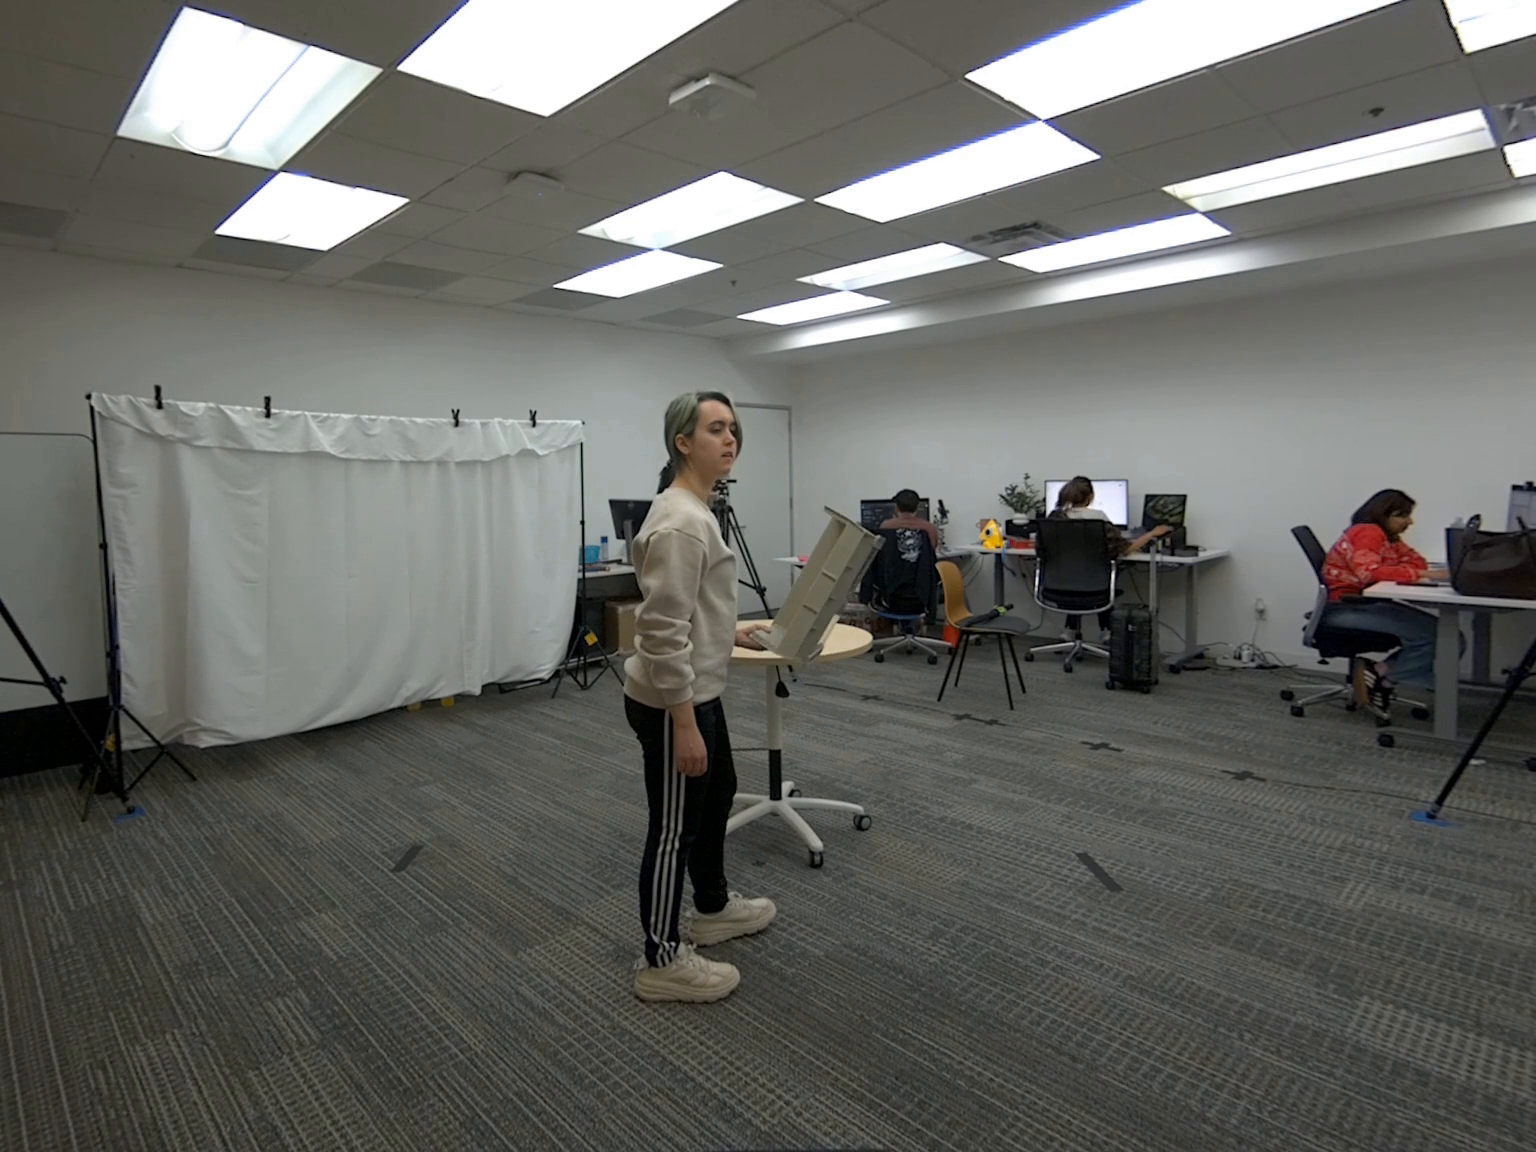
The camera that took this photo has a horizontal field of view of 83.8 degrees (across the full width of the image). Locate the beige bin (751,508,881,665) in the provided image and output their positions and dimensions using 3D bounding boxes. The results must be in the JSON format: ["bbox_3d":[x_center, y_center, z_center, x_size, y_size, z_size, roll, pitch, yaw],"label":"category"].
[{"bbox_3d":[0.159,0.029,2.470,0.192,0.421,0.372,30,5,11],"label":"beige bin"}]
